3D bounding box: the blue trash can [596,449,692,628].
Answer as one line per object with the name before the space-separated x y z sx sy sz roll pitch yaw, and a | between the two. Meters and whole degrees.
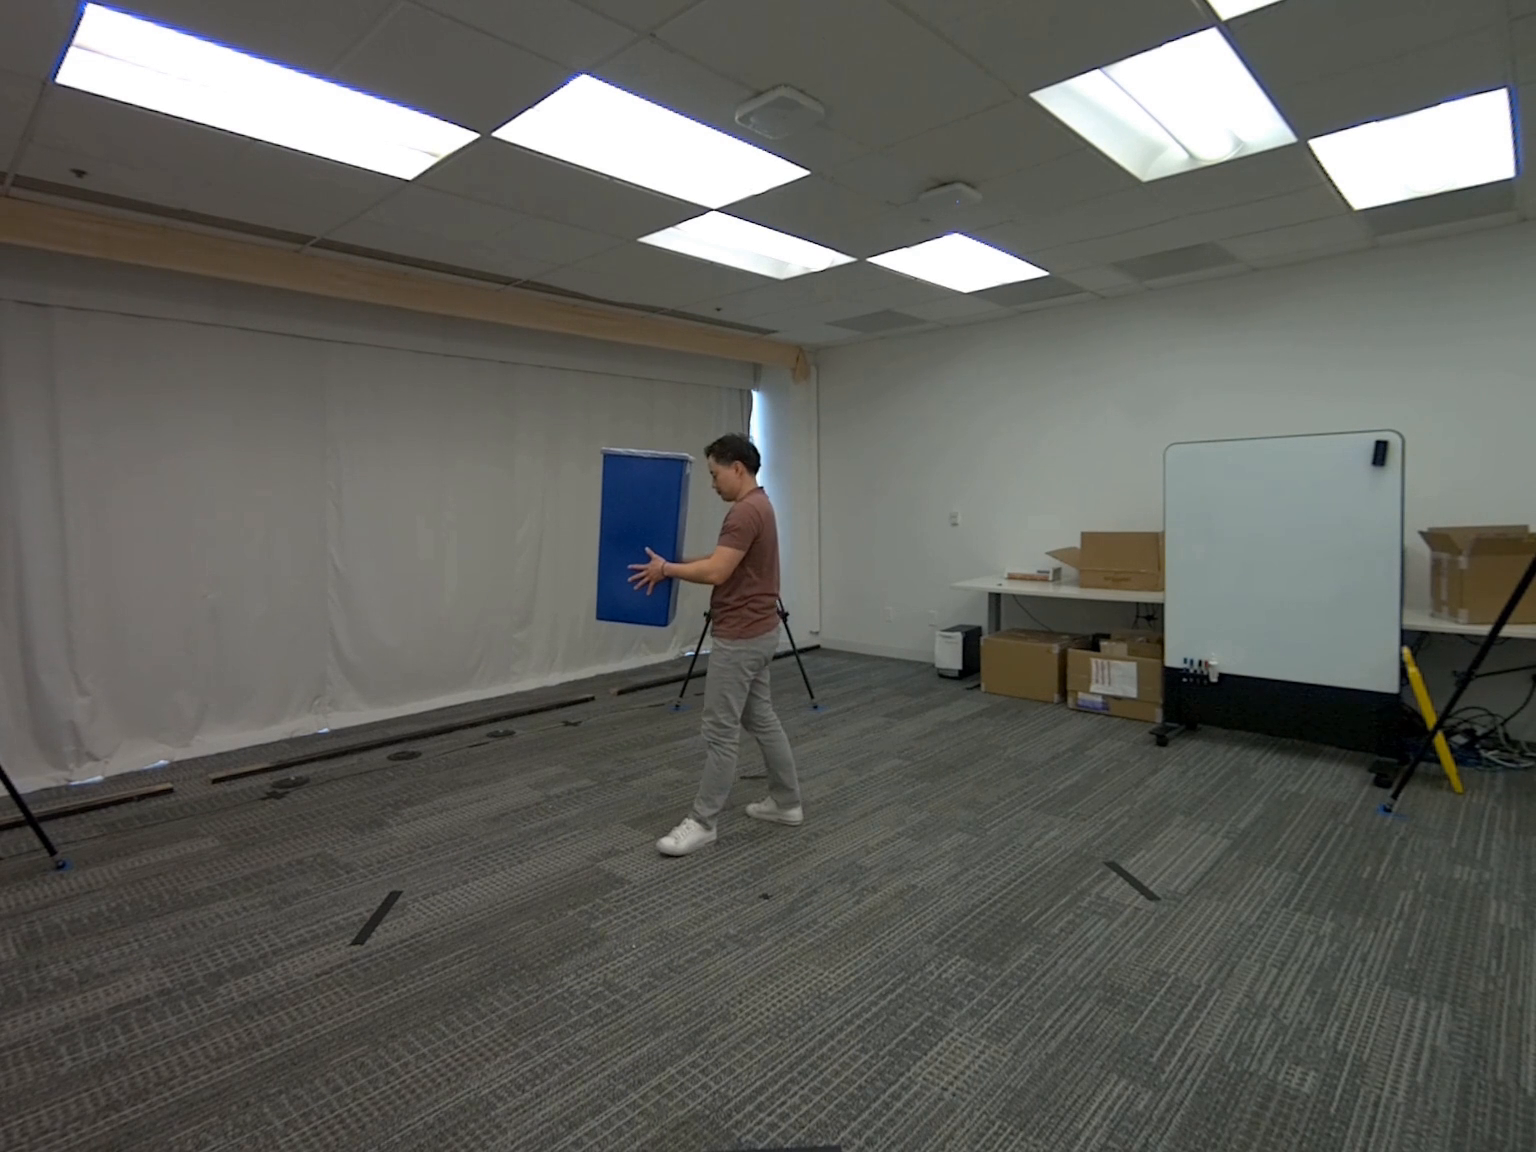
blue trash can | -0.541 -0.178 3.611 0.375 0.712 0.378 6 3 1
